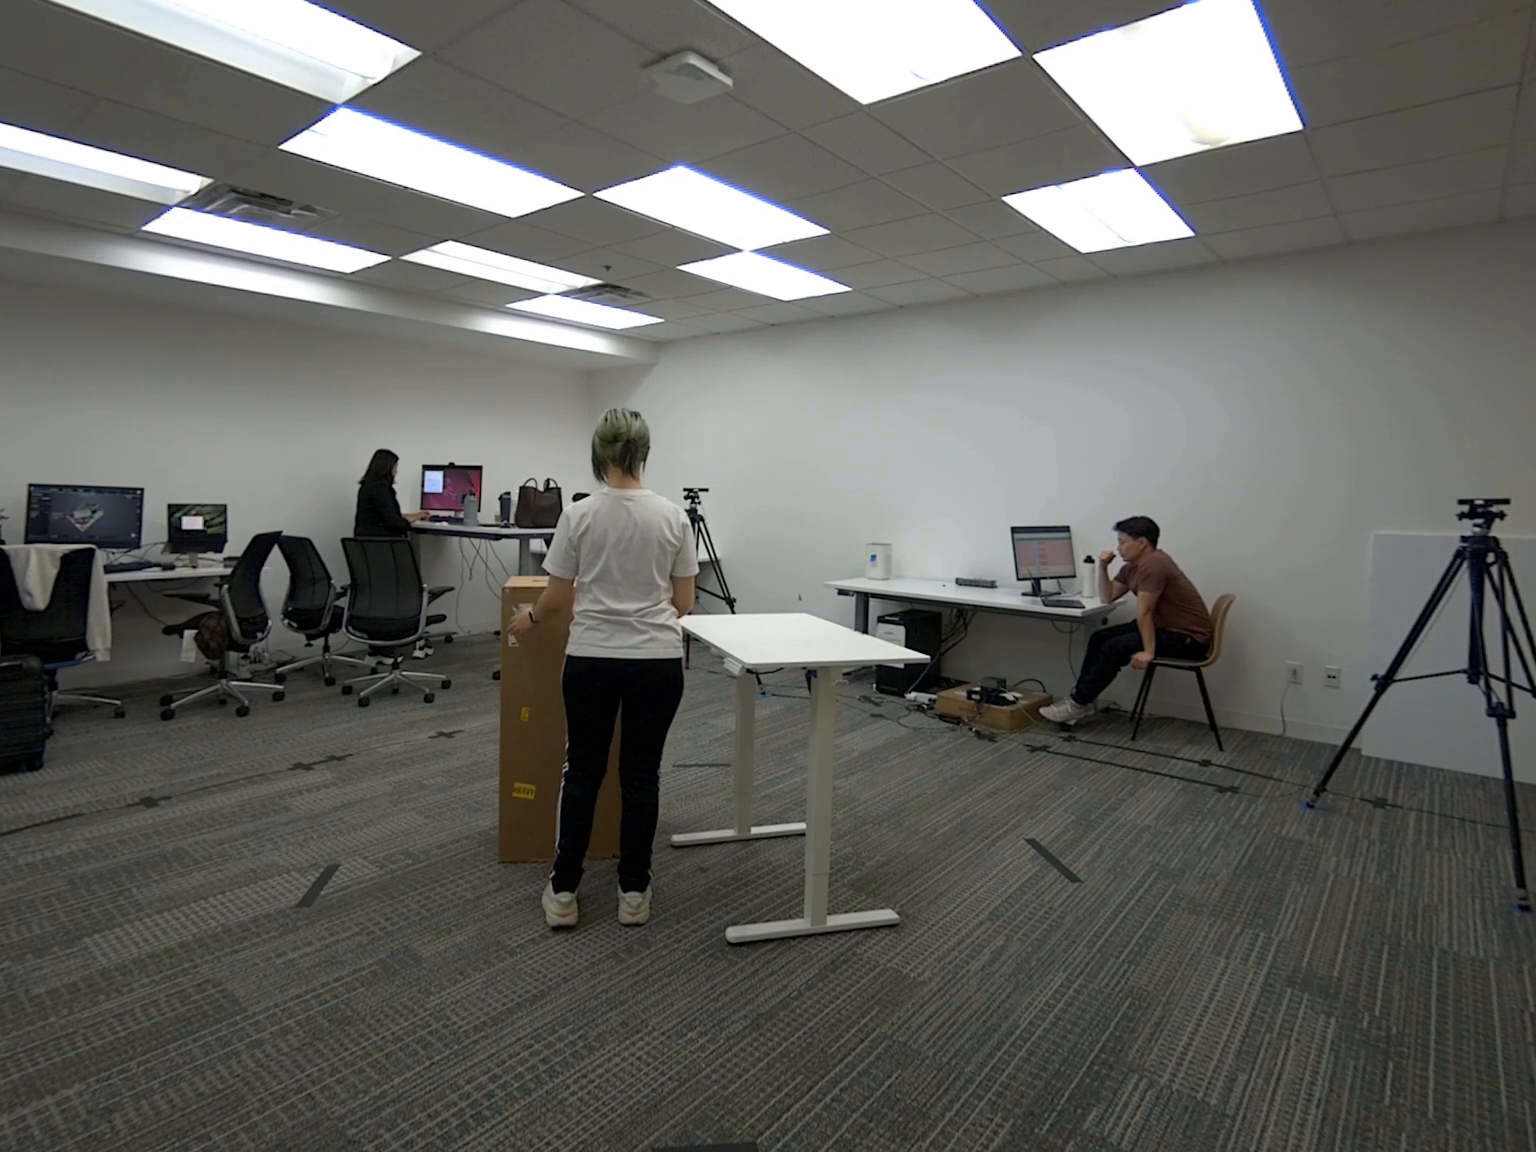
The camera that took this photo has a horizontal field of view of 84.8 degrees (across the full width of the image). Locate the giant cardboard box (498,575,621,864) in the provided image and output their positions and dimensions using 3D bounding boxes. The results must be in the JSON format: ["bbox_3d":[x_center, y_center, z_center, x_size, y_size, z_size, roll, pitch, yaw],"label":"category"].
[{"bbox_3d":[-0.761,0.529,3.354,0.577,1.025,0.453,1,2,-12],"label":"giant cardboard box"}]
